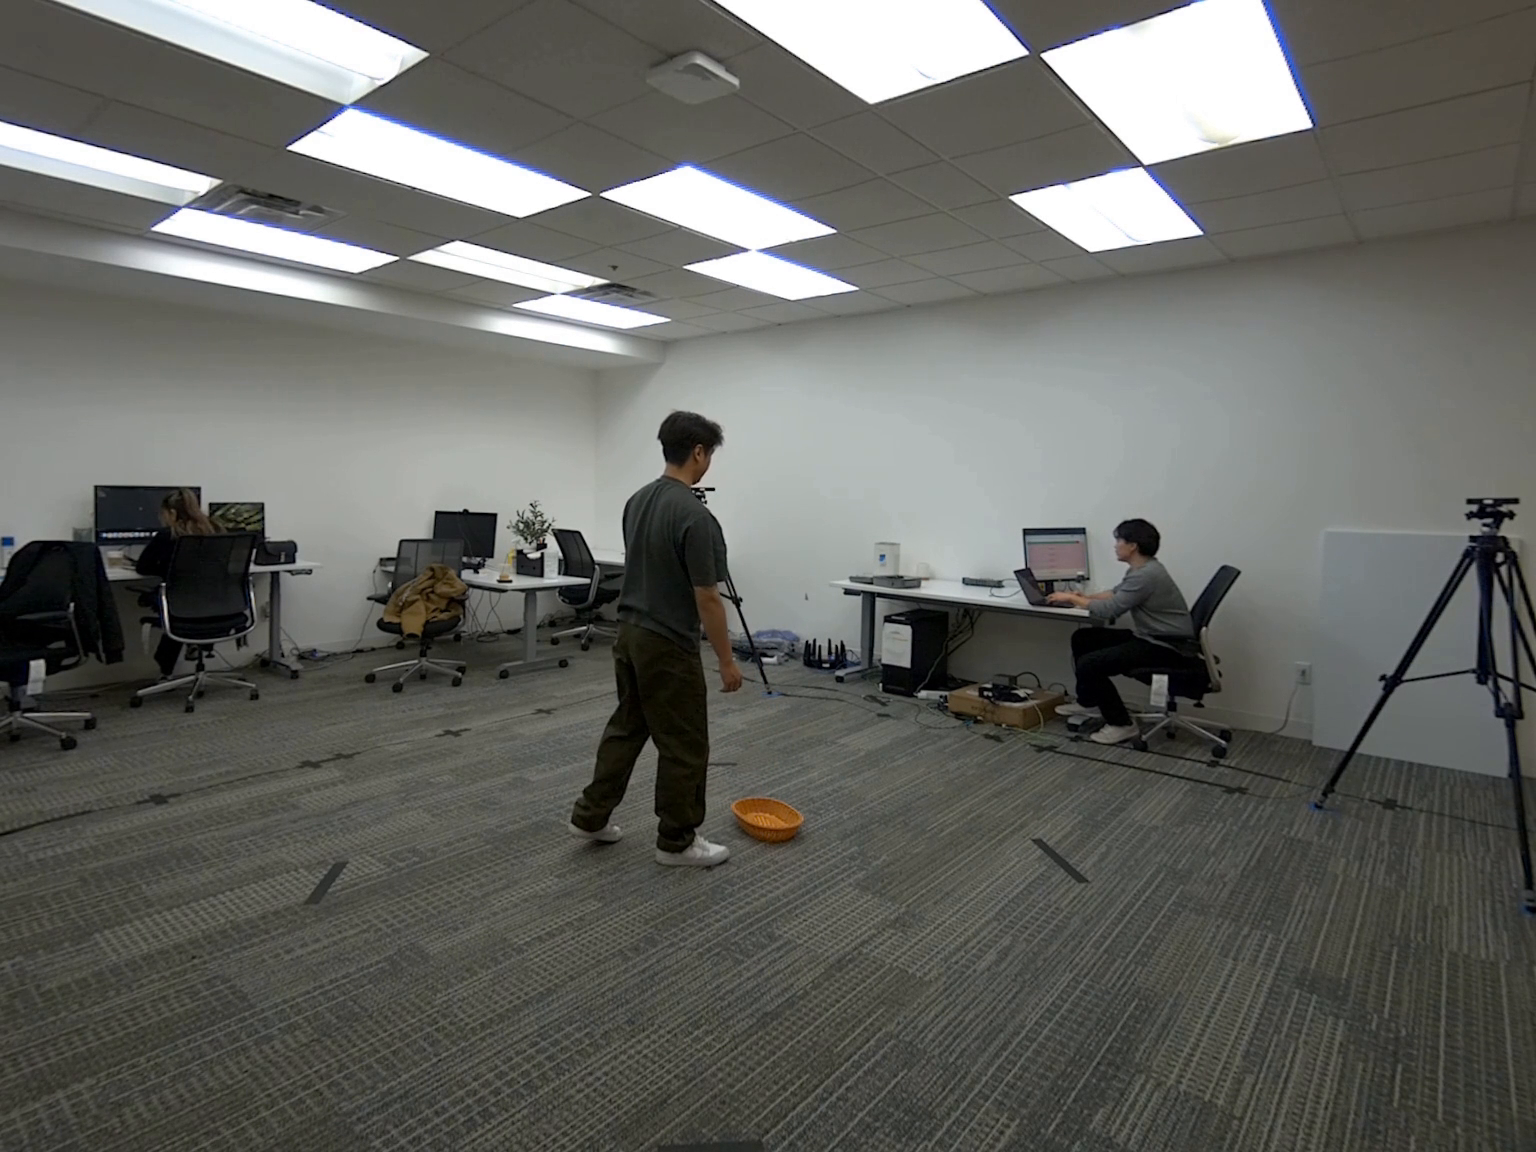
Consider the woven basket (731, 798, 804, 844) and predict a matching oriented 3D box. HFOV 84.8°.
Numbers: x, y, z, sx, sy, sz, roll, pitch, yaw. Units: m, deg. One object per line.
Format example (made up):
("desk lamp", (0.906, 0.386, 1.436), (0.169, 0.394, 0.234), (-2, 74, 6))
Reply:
("woven basket", (-0.016, 0.998, 3.486), (0.246, 0.073, 0.361), (-1, 6, -27))
